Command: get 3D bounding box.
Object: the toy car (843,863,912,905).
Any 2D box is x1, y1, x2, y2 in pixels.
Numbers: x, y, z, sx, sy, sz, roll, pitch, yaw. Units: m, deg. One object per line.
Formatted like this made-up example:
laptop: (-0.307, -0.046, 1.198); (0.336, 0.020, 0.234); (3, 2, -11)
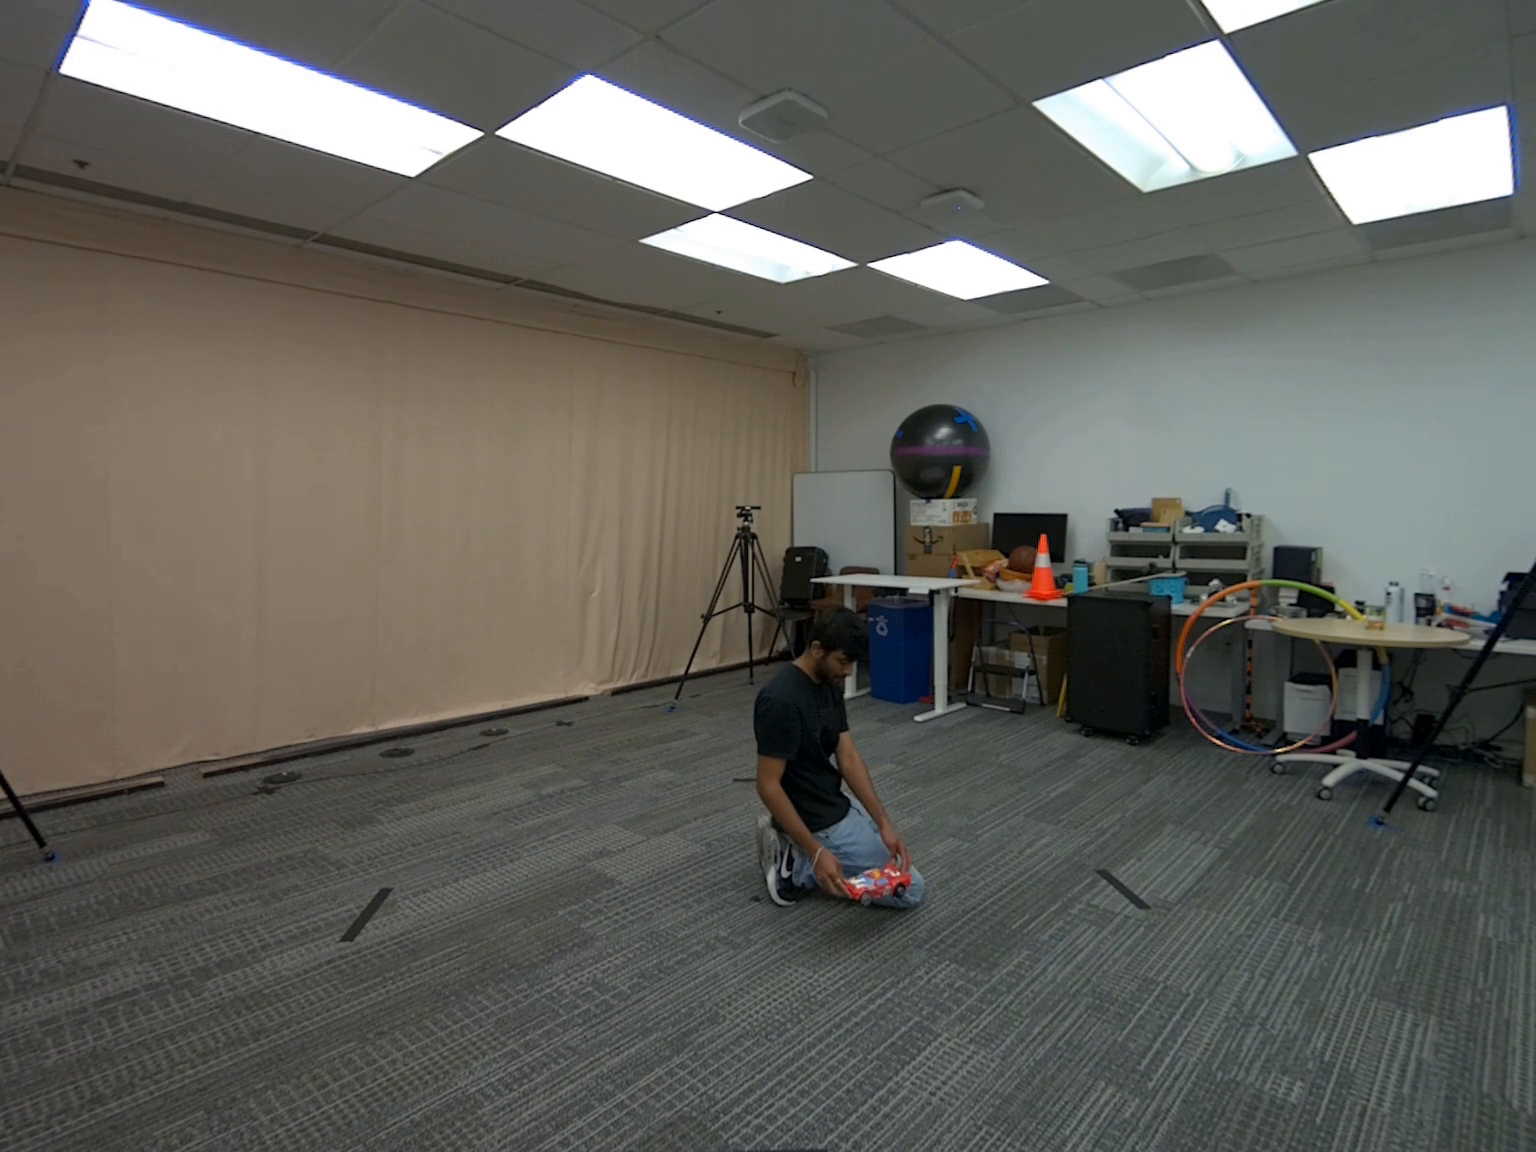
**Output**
toy car: (0.355, 0.983, 2.705); (0.248, 0.083, 0.134); (-11, 7, -32)
